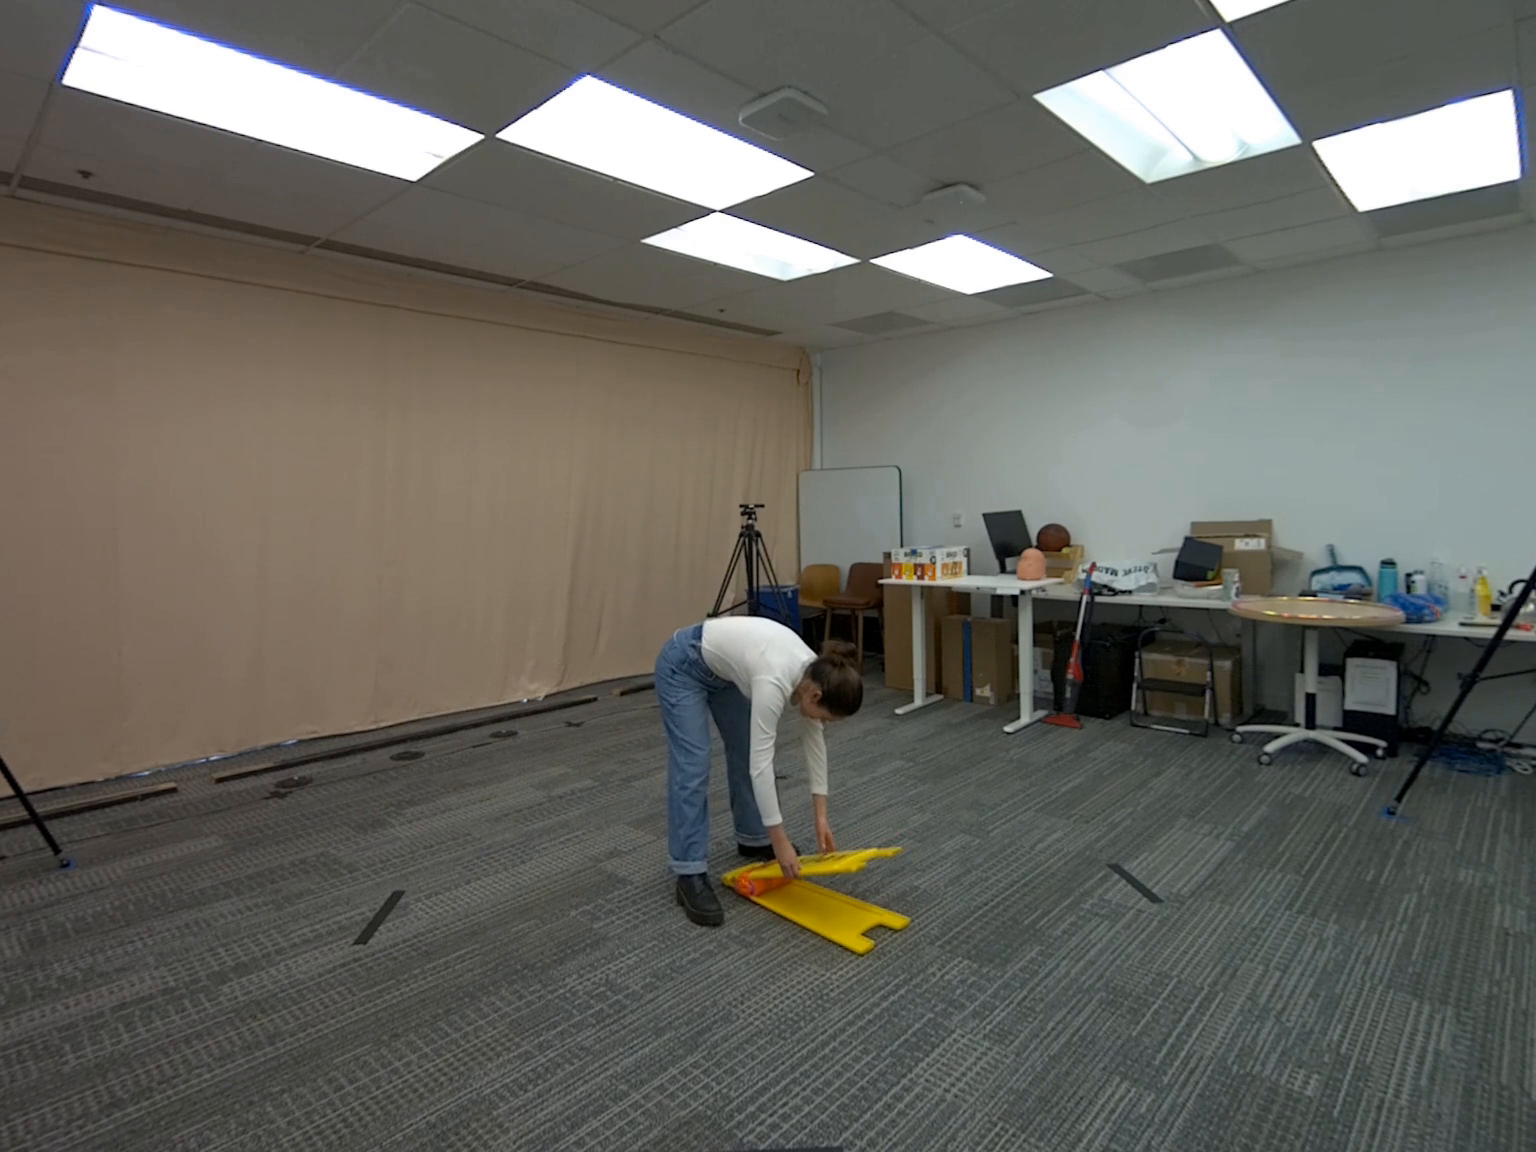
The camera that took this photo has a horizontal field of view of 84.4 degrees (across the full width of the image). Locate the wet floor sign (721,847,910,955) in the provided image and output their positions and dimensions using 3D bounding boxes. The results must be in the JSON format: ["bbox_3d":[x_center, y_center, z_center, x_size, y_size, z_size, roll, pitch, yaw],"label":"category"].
[{"bbox_3d":[0.135,1.063,2.911,0.664,0.291,0.273,-11,-8,43],"label":"wet floor sign"}]
